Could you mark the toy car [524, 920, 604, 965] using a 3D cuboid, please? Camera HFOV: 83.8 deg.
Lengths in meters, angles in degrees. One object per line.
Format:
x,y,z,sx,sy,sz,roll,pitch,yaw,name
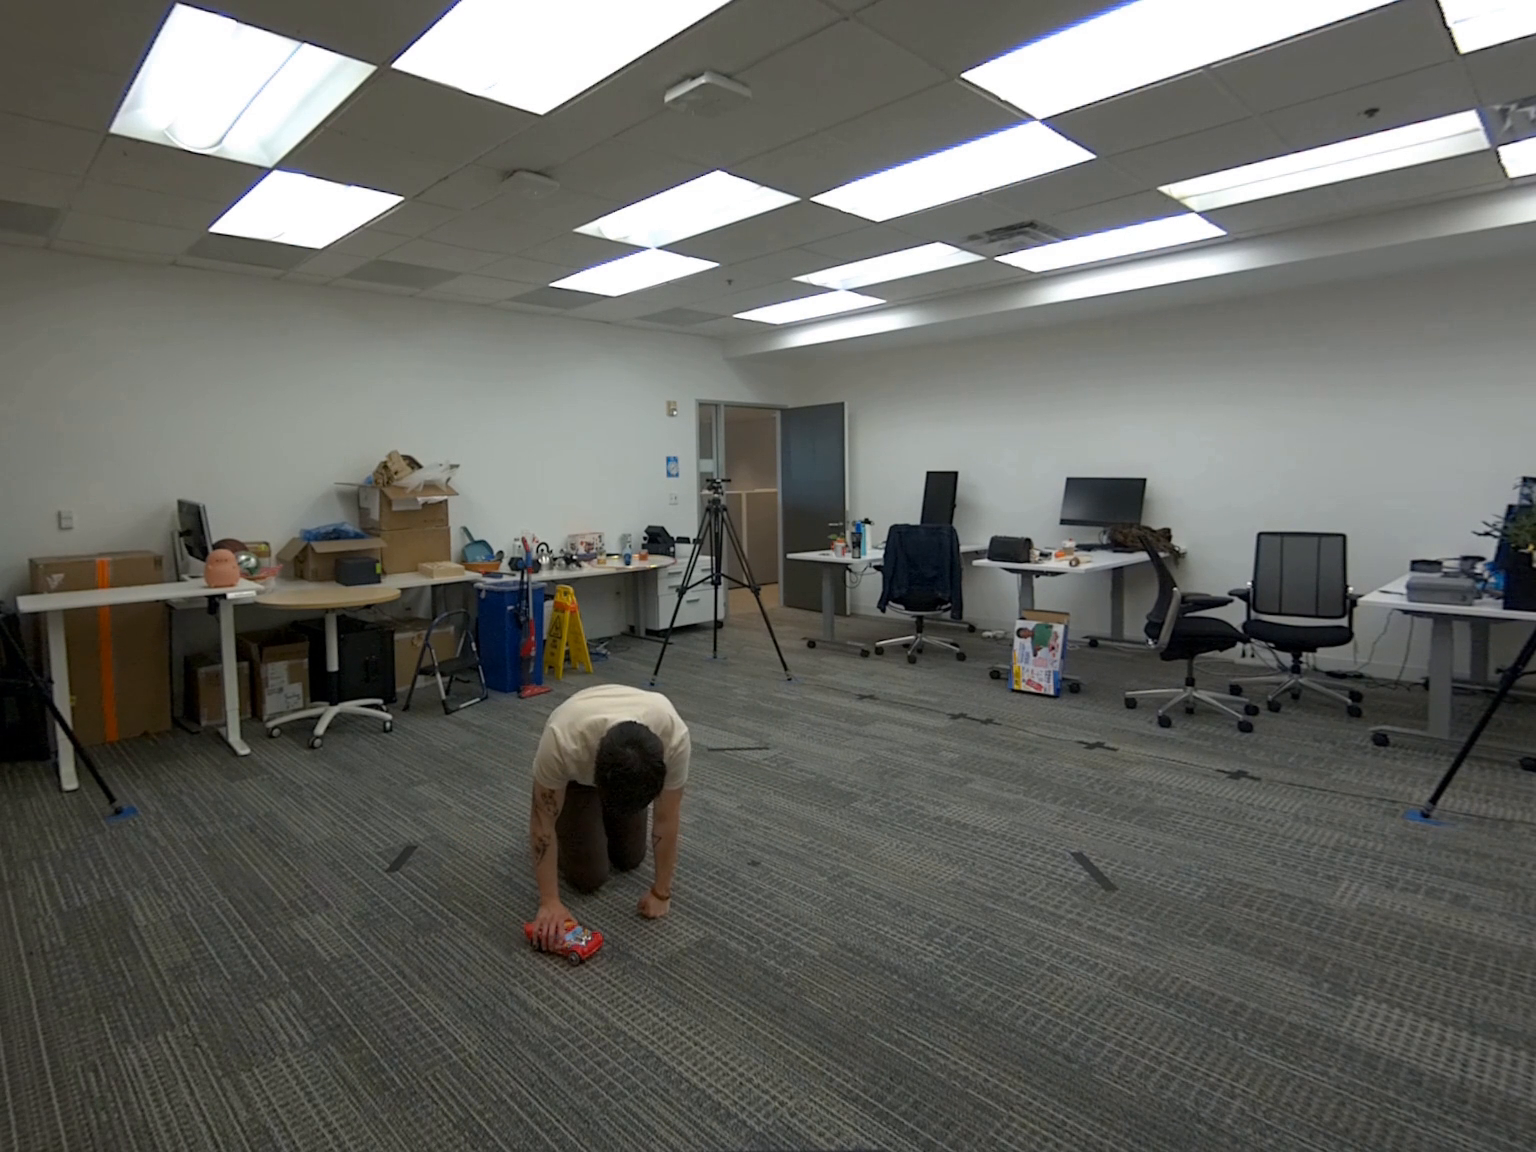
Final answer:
-0.623,1.095,2.569,0.262,0.082,0.127,14,13,28,toy car
